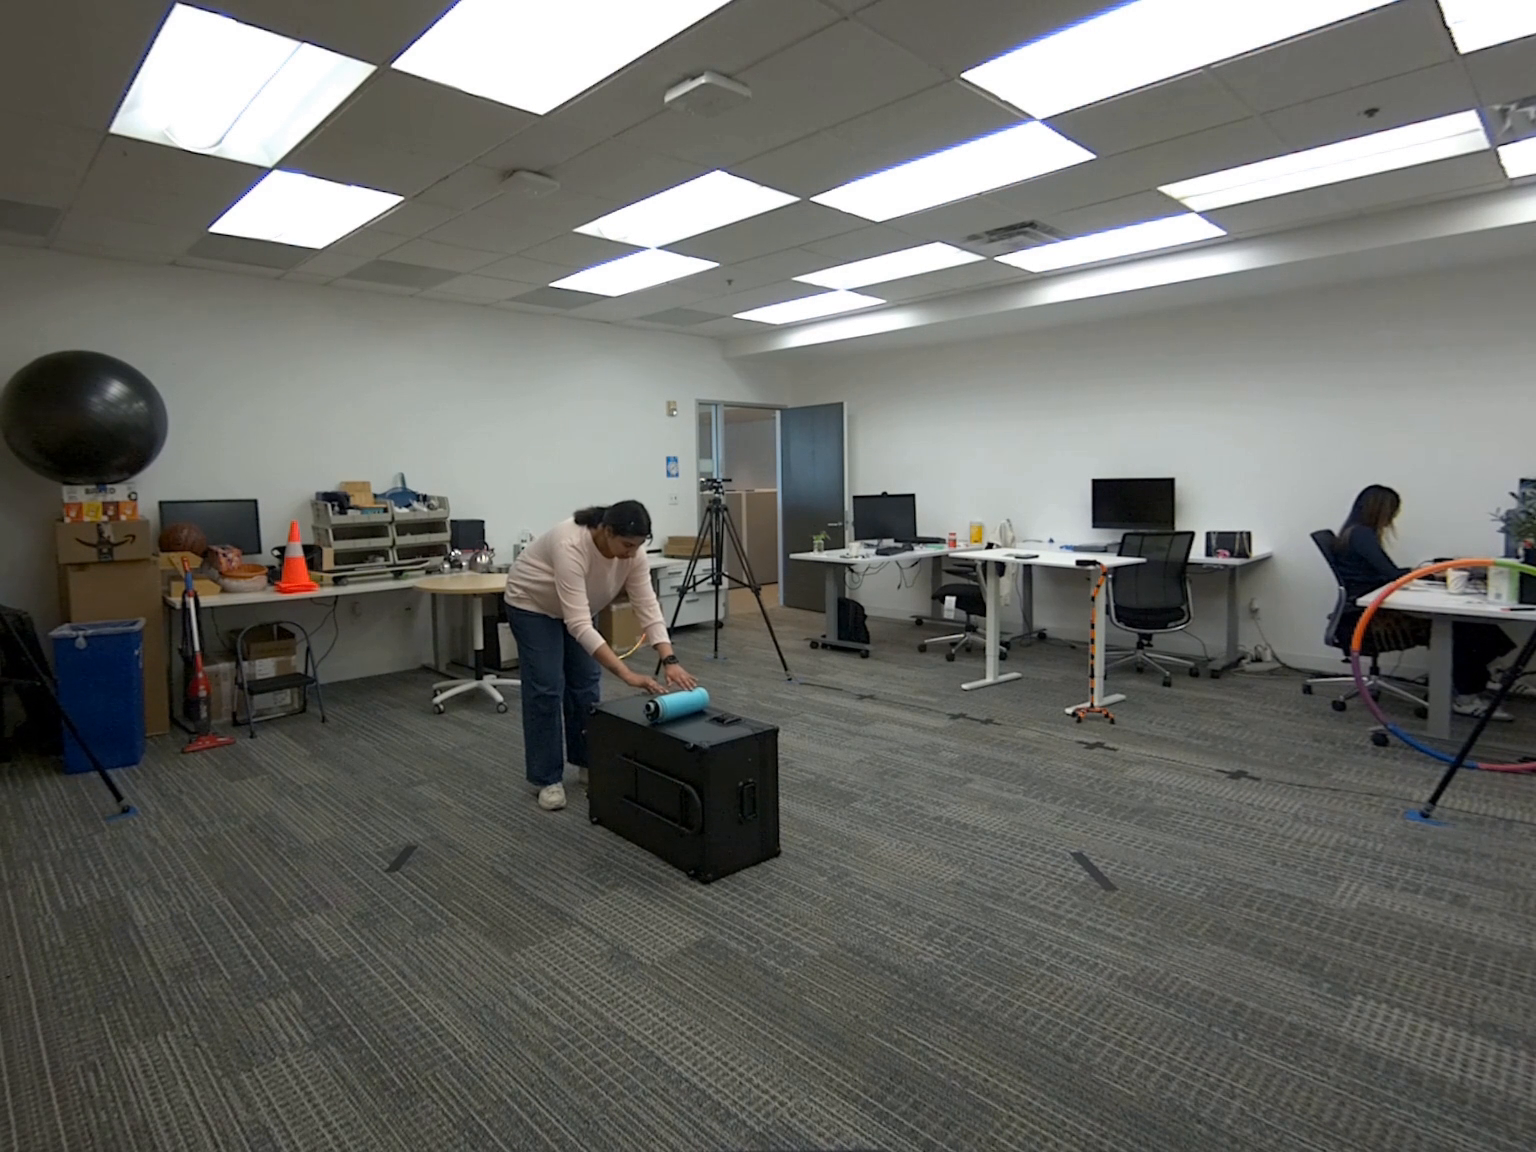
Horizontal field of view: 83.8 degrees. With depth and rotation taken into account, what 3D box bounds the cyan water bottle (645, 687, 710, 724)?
[{"bbox_3d":[-0.356,0.492,3.299,0.095,0.092,0.276,3,8,42],"label":"cyan water bottle"}]
